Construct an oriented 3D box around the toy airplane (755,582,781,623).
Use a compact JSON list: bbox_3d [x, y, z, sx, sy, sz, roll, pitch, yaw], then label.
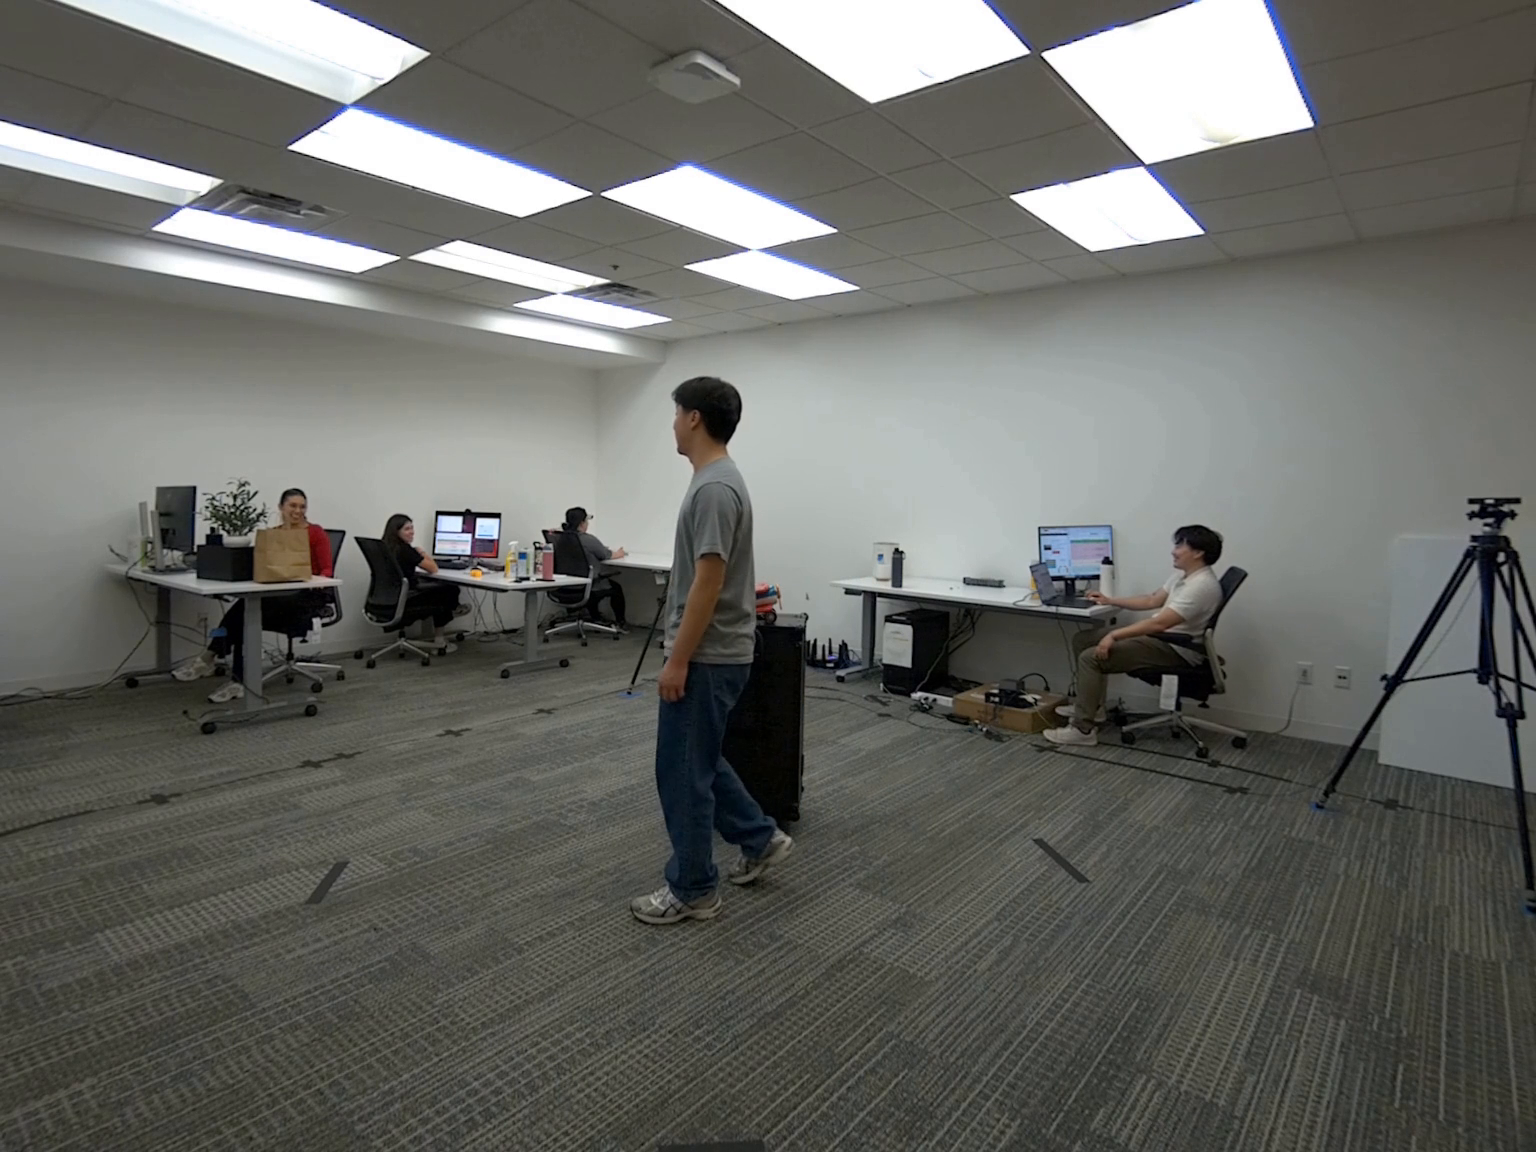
[{"bbox_3d":[-0.078,0.103,3.462,0.253,0.156,0.258,0,5,-27],"label":"toy airplane"}]
